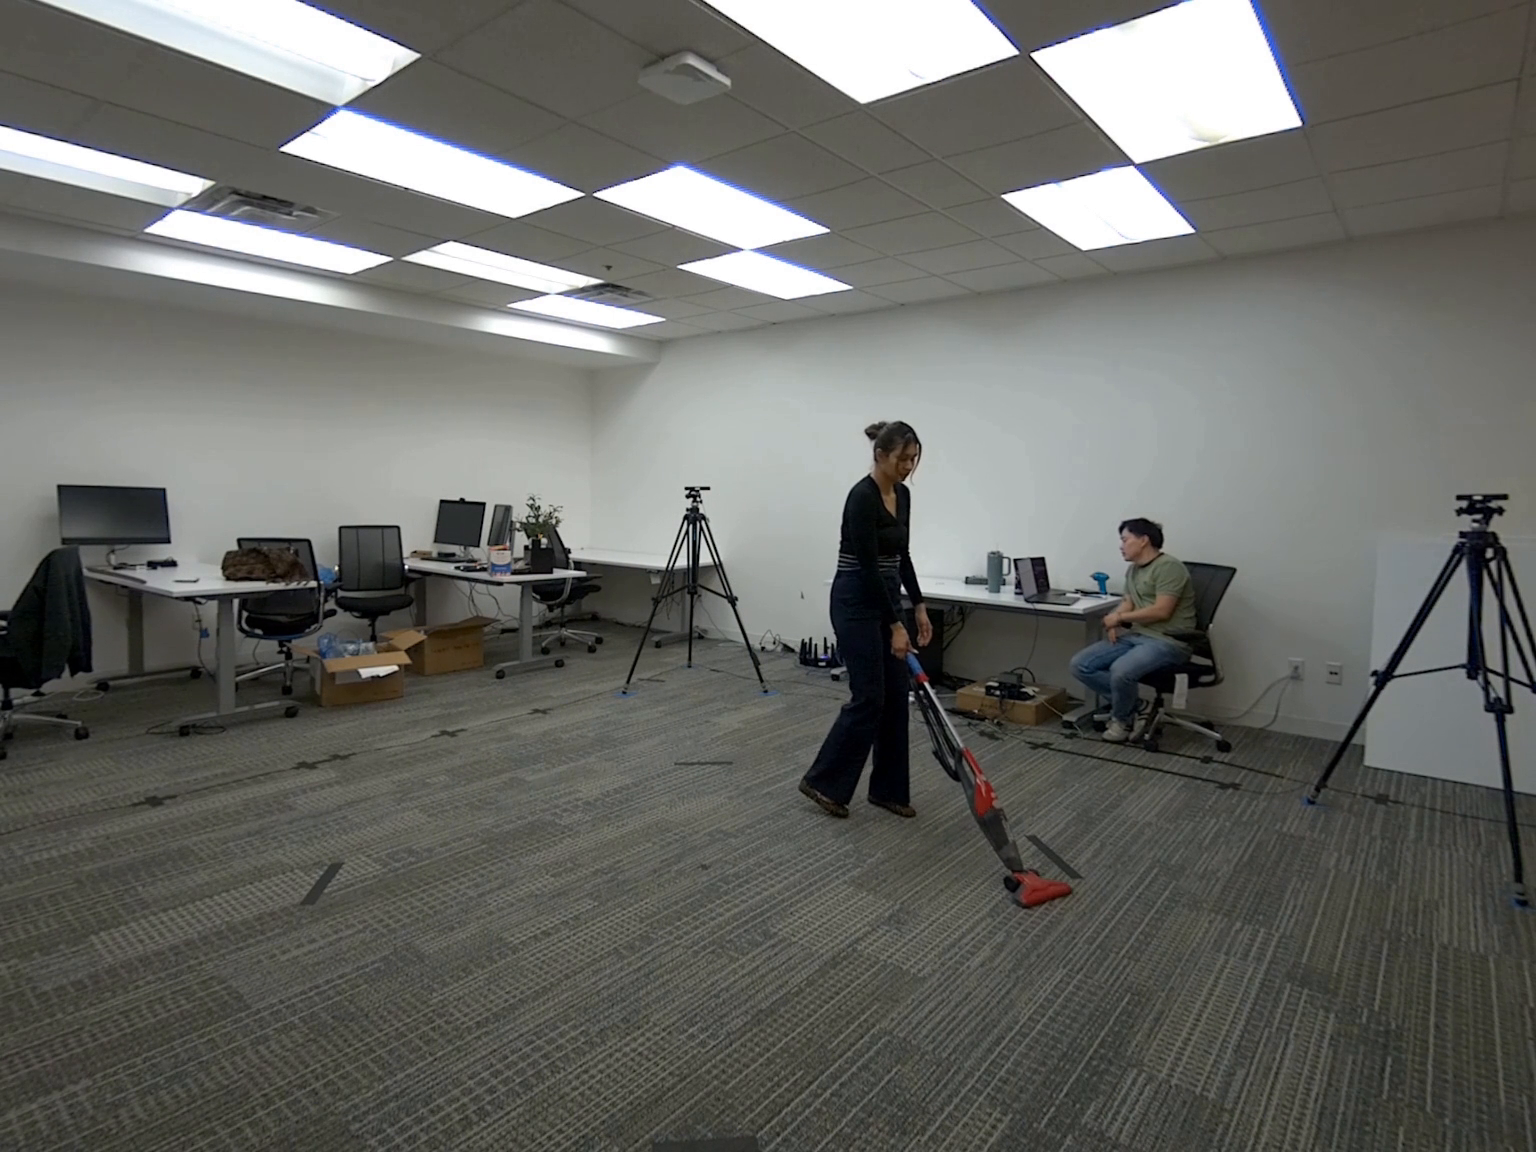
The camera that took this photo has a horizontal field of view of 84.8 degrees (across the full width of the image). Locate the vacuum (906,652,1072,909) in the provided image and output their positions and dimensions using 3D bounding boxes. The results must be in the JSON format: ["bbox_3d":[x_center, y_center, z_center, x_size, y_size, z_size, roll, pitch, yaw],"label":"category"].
[{"bbox_3d":[0.738,0.695,3.272,0.245,0.143,1.090,2,46,-35],"label":"vacuum"}]
